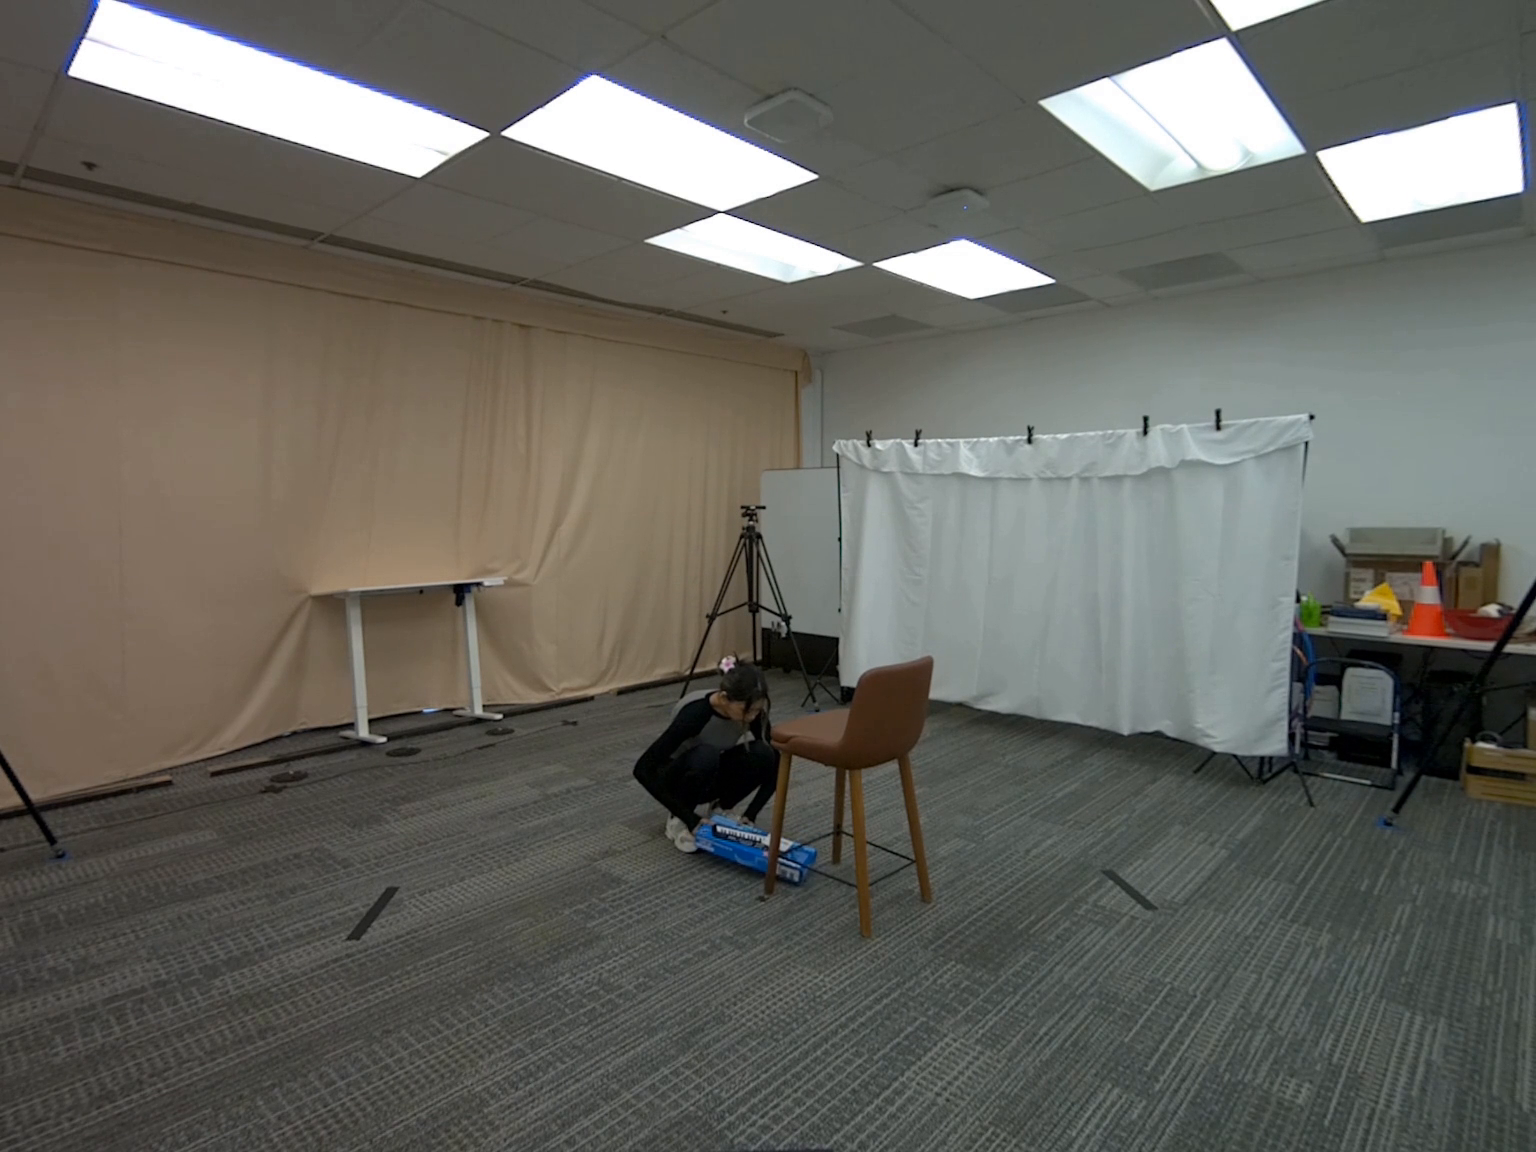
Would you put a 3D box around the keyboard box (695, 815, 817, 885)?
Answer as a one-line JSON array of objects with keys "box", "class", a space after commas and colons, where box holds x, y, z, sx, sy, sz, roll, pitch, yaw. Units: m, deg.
[{"box": [-0.049, 1.030, 3.216, 0.448, 0.059, 0.172, 11, 14, 23], "class": "keyboard box"}]
